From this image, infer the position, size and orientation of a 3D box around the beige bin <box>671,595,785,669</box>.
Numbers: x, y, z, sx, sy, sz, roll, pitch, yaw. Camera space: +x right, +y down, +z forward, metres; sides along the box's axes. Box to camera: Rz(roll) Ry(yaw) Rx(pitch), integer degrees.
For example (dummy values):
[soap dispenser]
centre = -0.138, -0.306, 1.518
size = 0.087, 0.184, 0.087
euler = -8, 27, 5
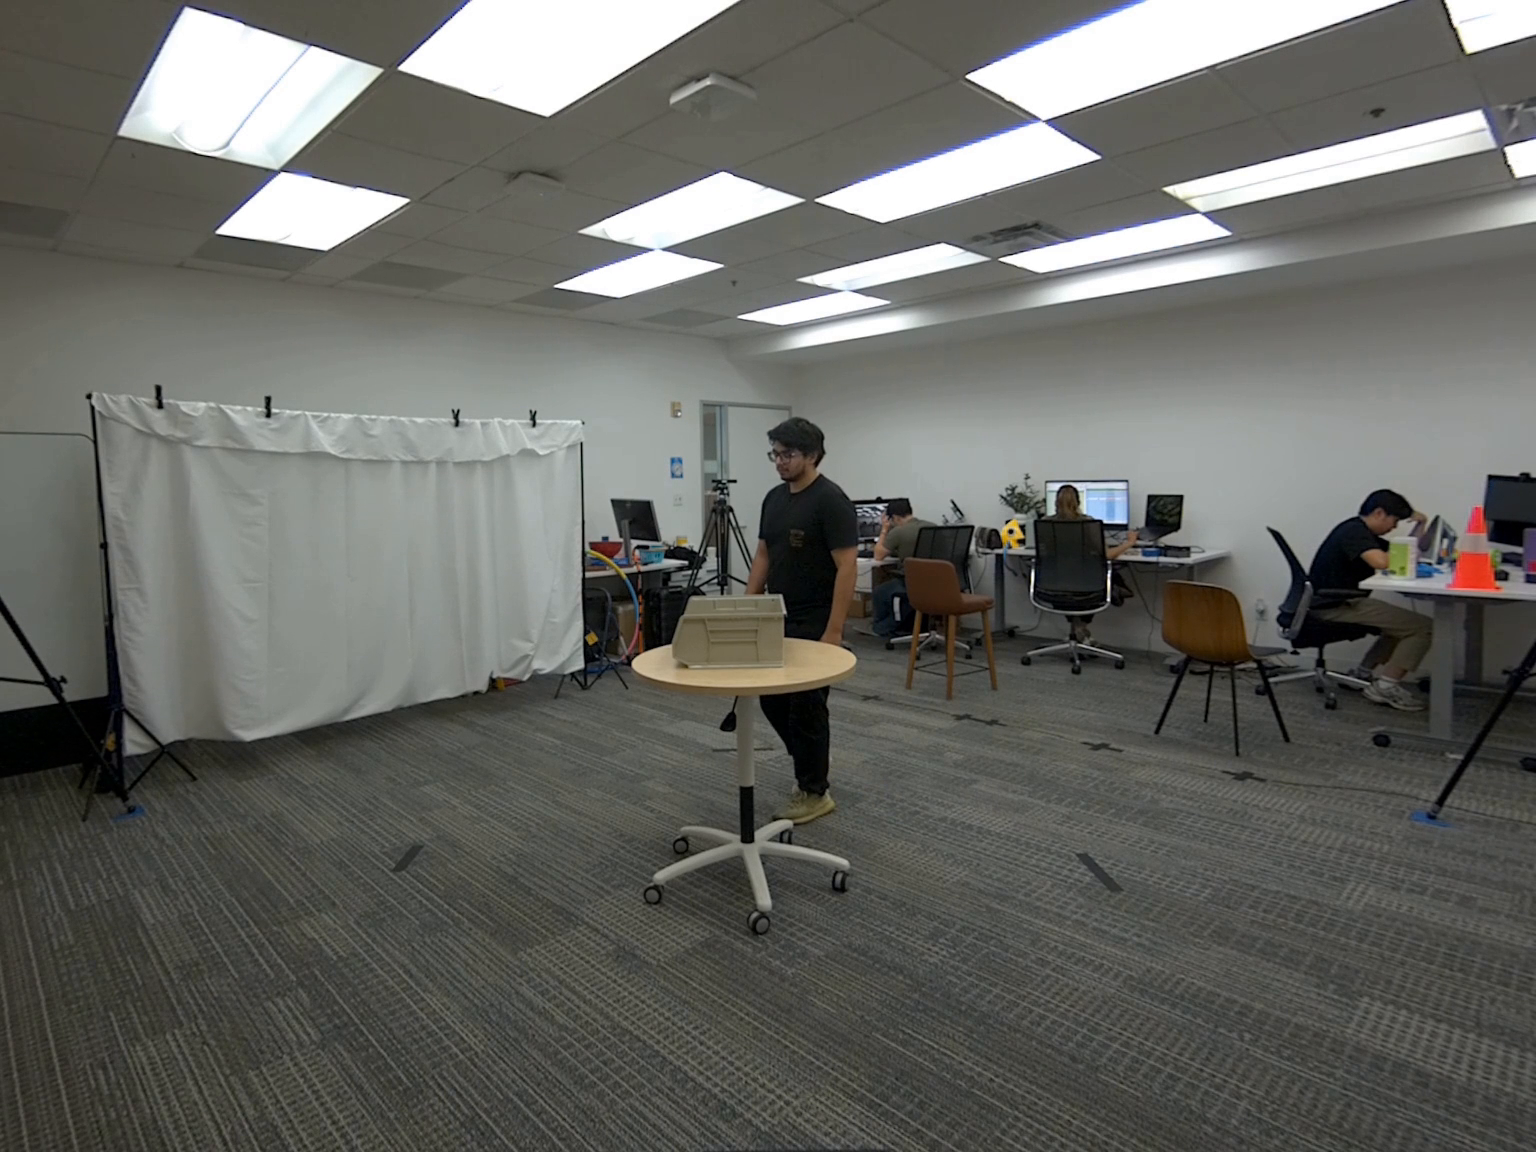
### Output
[beige bin]
centre = -0.141, 0.193, 2.990
size = 0.378, 0.188, 0.424
euler = 0, 6, 0
